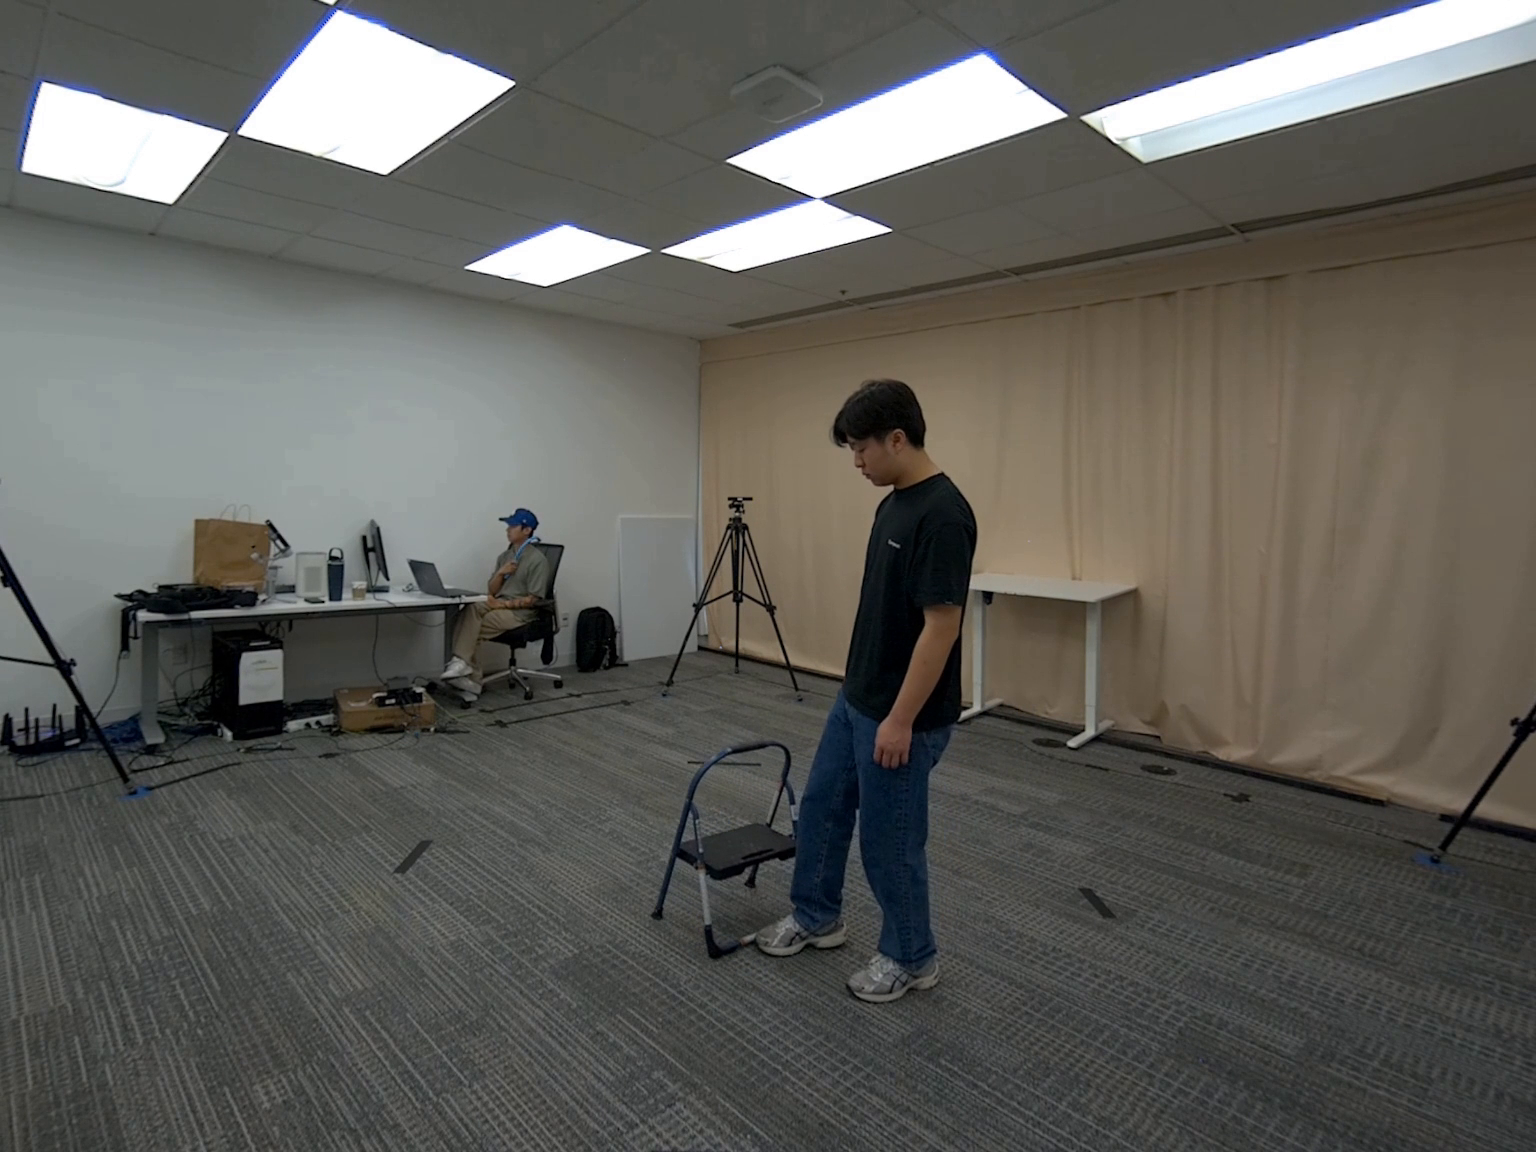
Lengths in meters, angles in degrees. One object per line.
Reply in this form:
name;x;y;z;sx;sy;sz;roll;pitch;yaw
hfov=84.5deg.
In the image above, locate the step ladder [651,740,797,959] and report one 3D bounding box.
step ladder;-0.113;0.833;2.771;0.421;0.604;0.358;-2;5;-40
